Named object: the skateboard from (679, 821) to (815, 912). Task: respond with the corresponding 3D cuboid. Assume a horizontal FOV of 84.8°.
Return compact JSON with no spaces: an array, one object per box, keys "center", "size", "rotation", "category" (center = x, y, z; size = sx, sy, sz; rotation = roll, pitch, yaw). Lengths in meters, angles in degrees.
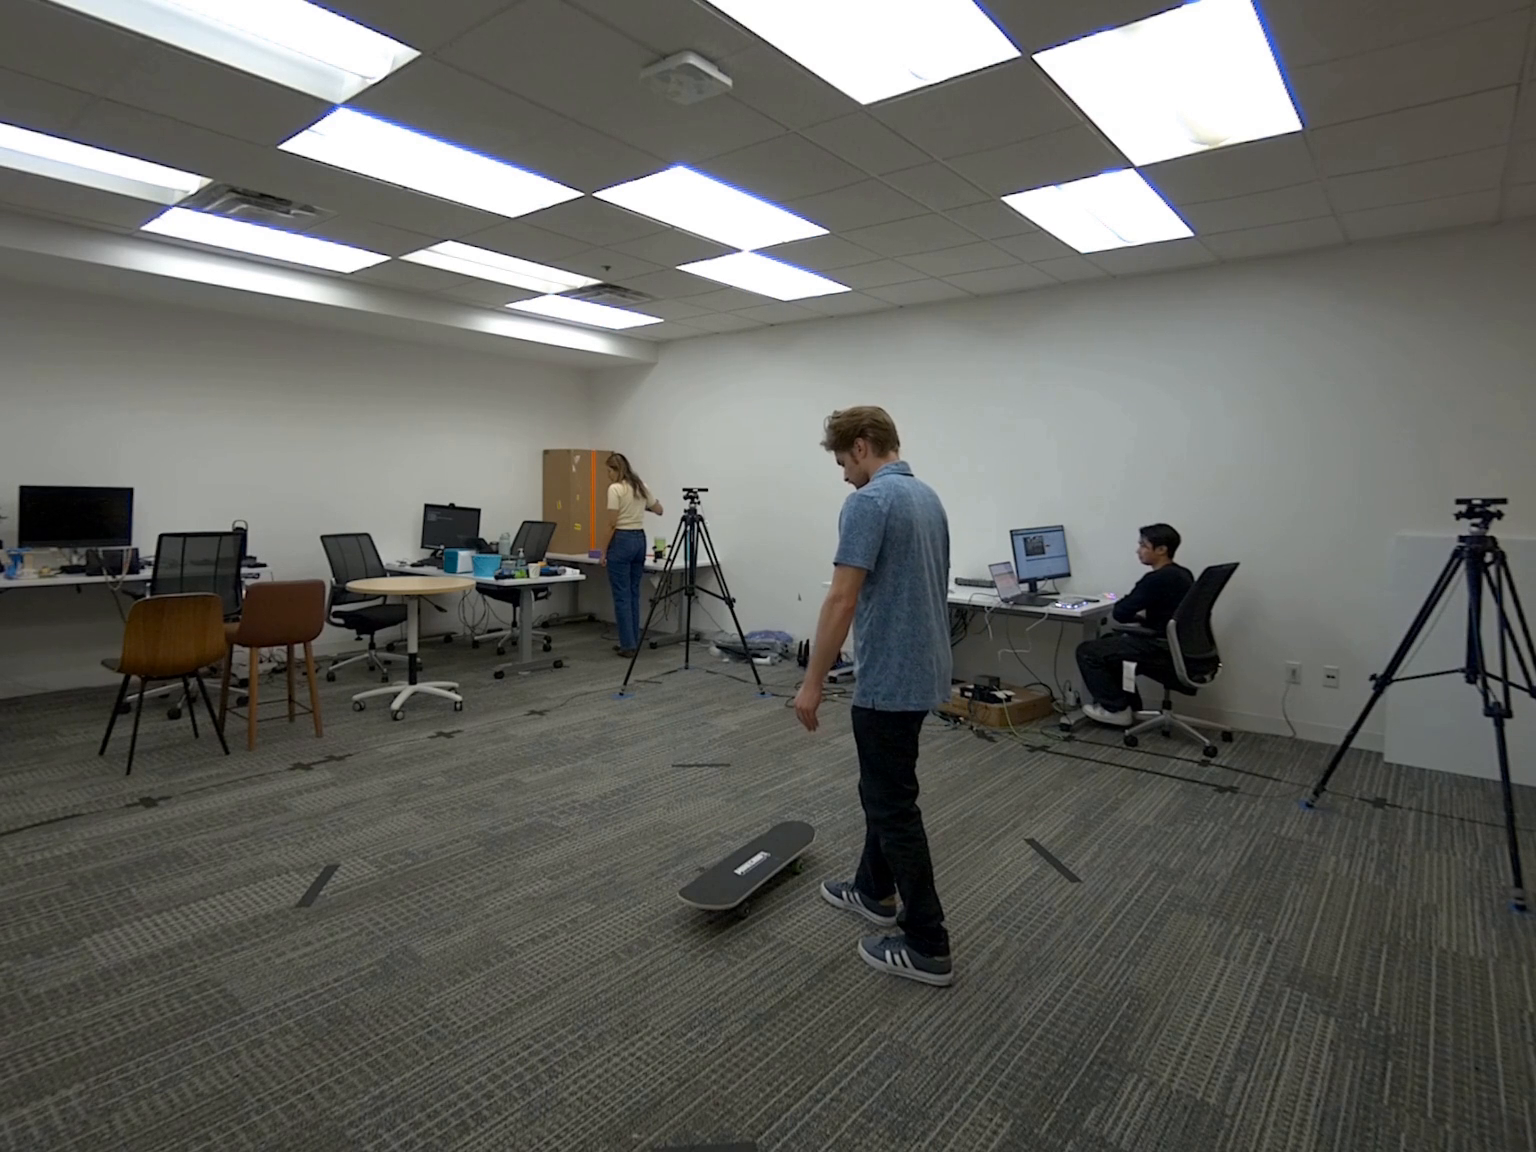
[{"center":[-0.060,1.031,2.967],"size":[0.199,0.110,0.765],"rotation":[4,6,29],"category":"skateboard"}]
